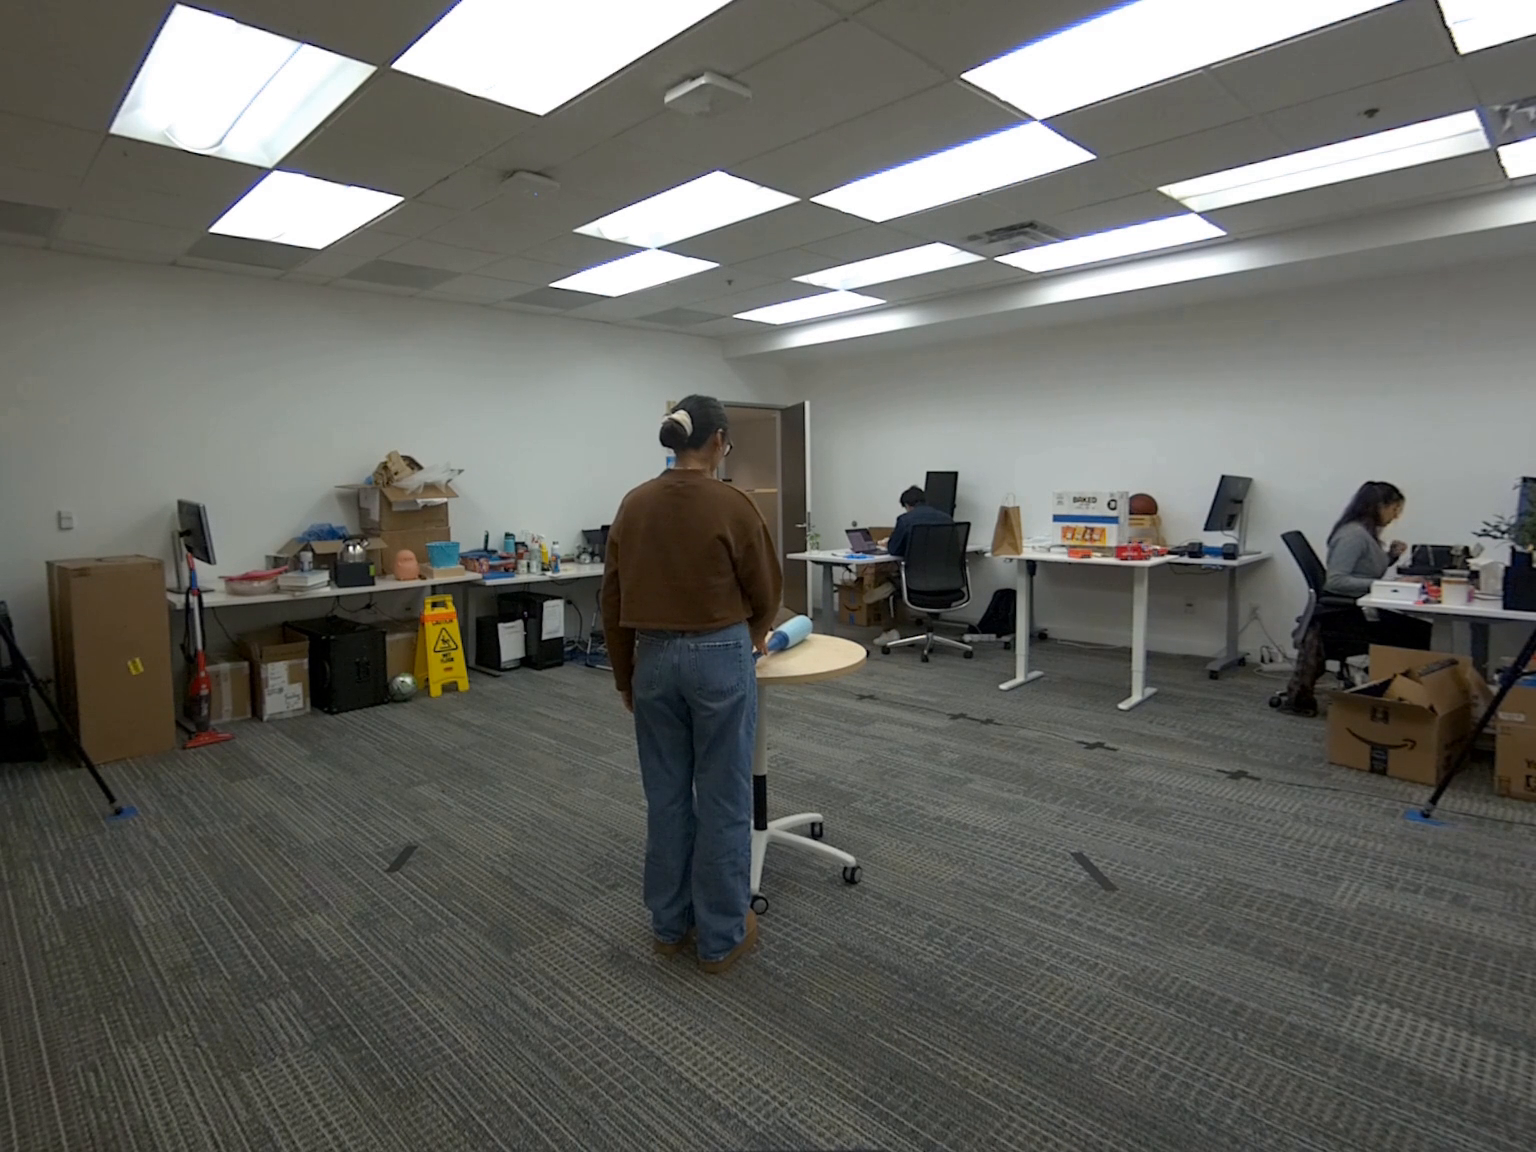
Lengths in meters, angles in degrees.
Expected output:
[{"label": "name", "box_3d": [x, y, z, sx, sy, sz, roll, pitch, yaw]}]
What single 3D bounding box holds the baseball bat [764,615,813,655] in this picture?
[{"label": "baseball bat", "box_3d": [0.037, 0.236, 3.015, 0.091, 0.088, 0.536, 1, 10, 22]}]
